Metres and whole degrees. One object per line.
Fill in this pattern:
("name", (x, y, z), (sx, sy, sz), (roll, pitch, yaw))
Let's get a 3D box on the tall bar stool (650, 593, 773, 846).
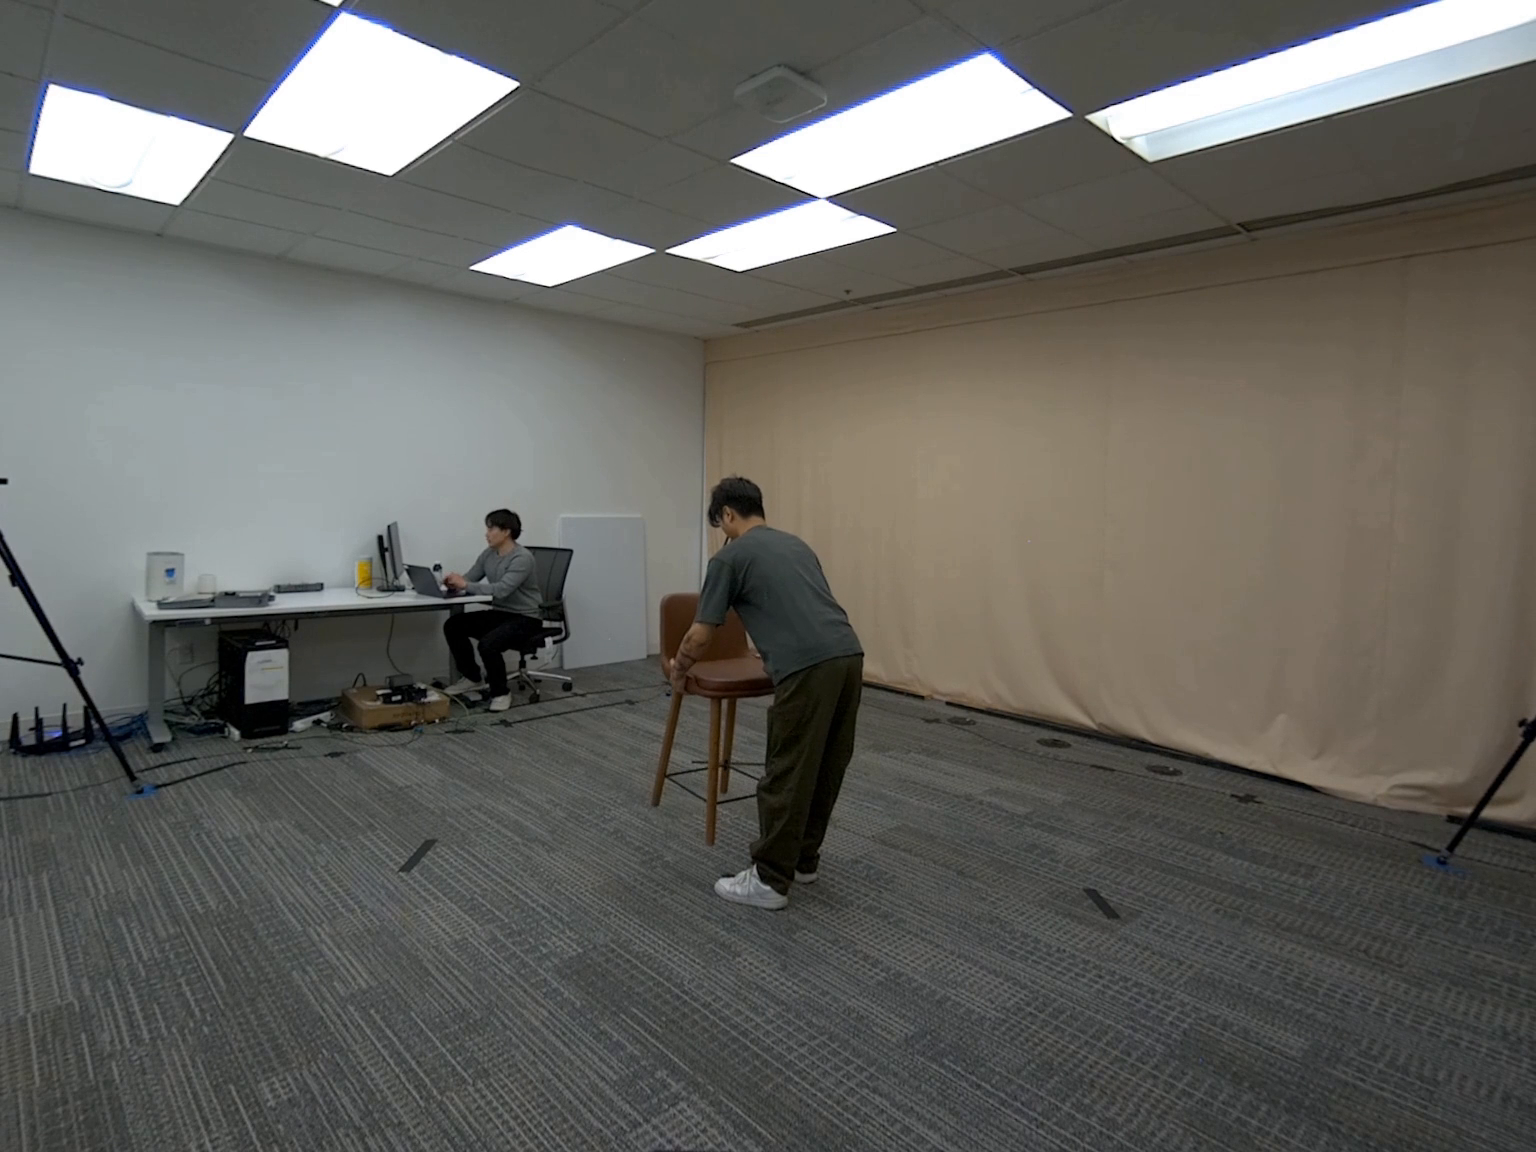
("tall bar stool", (-0.181, 0.535, 3.357), (0.446, 0.888, 0.479), (1, 3, -37))
